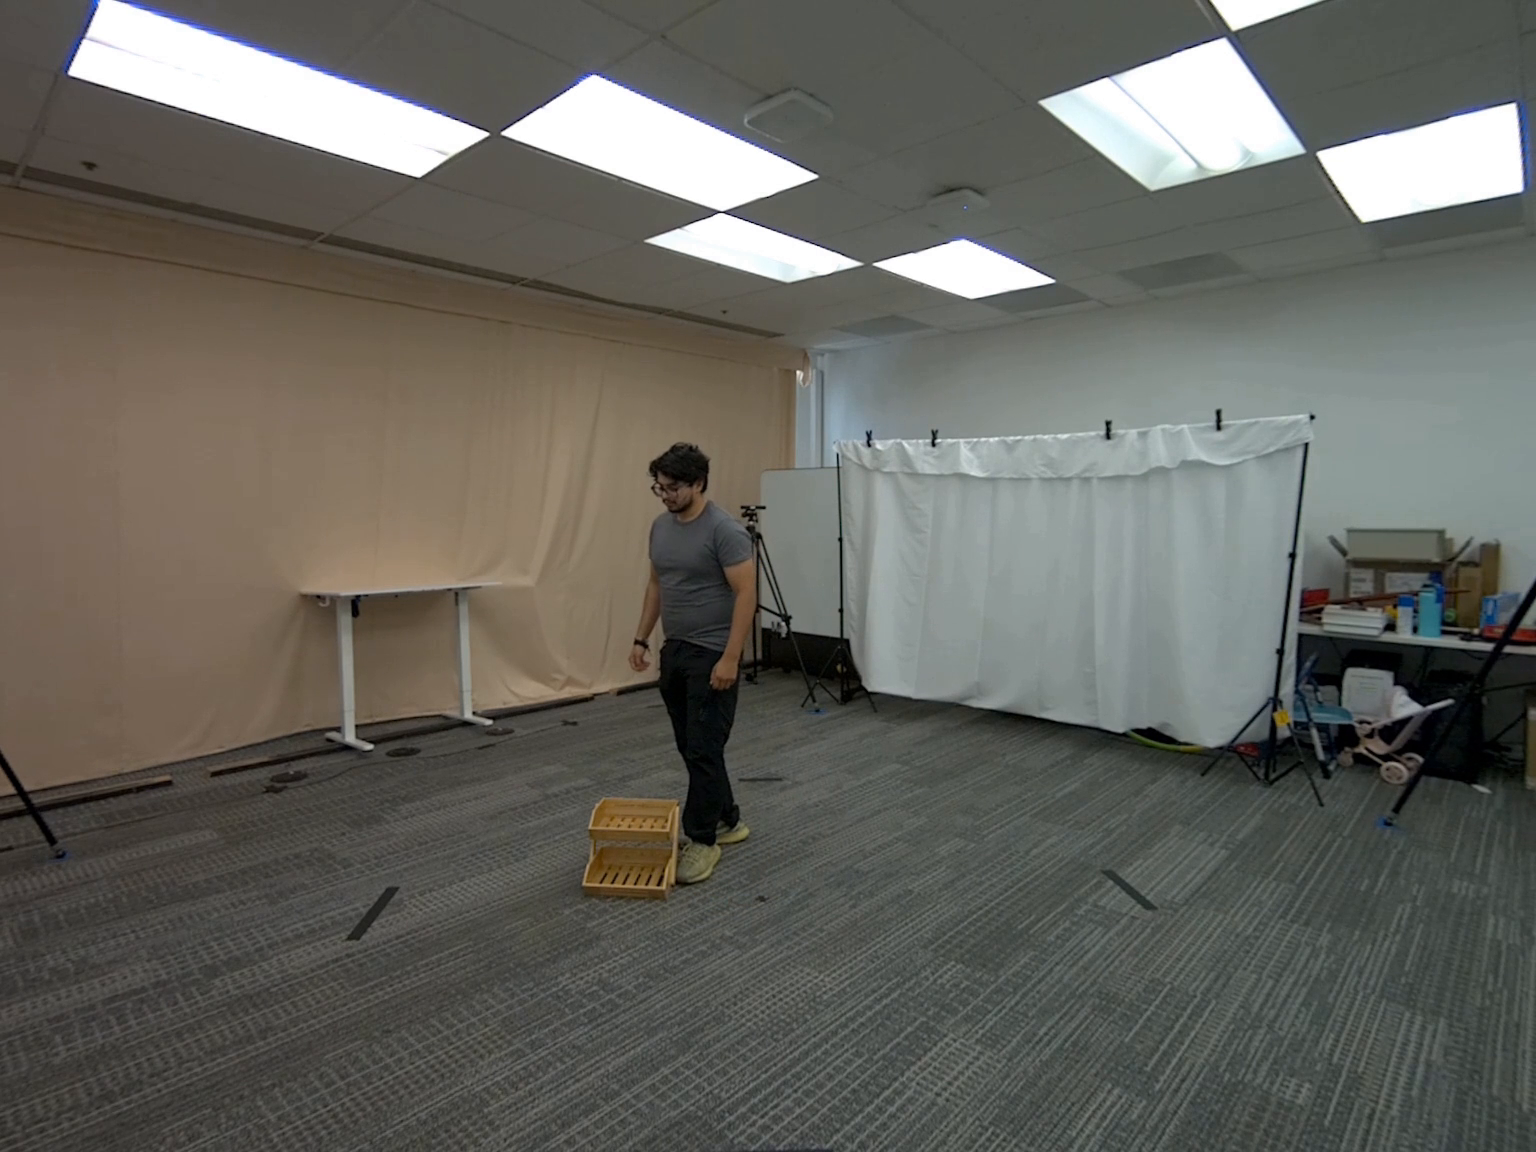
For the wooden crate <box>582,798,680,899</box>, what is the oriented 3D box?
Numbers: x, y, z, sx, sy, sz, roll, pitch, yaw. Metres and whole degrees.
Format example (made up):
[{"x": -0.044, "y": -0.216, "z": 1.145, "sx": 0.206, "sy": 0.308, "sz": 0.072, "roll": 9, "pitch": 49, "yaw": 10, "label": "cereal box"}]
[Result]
[{"x": -0.513, "y": 1.012, "z": 3.113, "sx": 0.327, "sy": 0.272, "sz": 0.301, "roll": 0, "pitch": 5, "yaw": 6, "label": "wooden crate"}]
